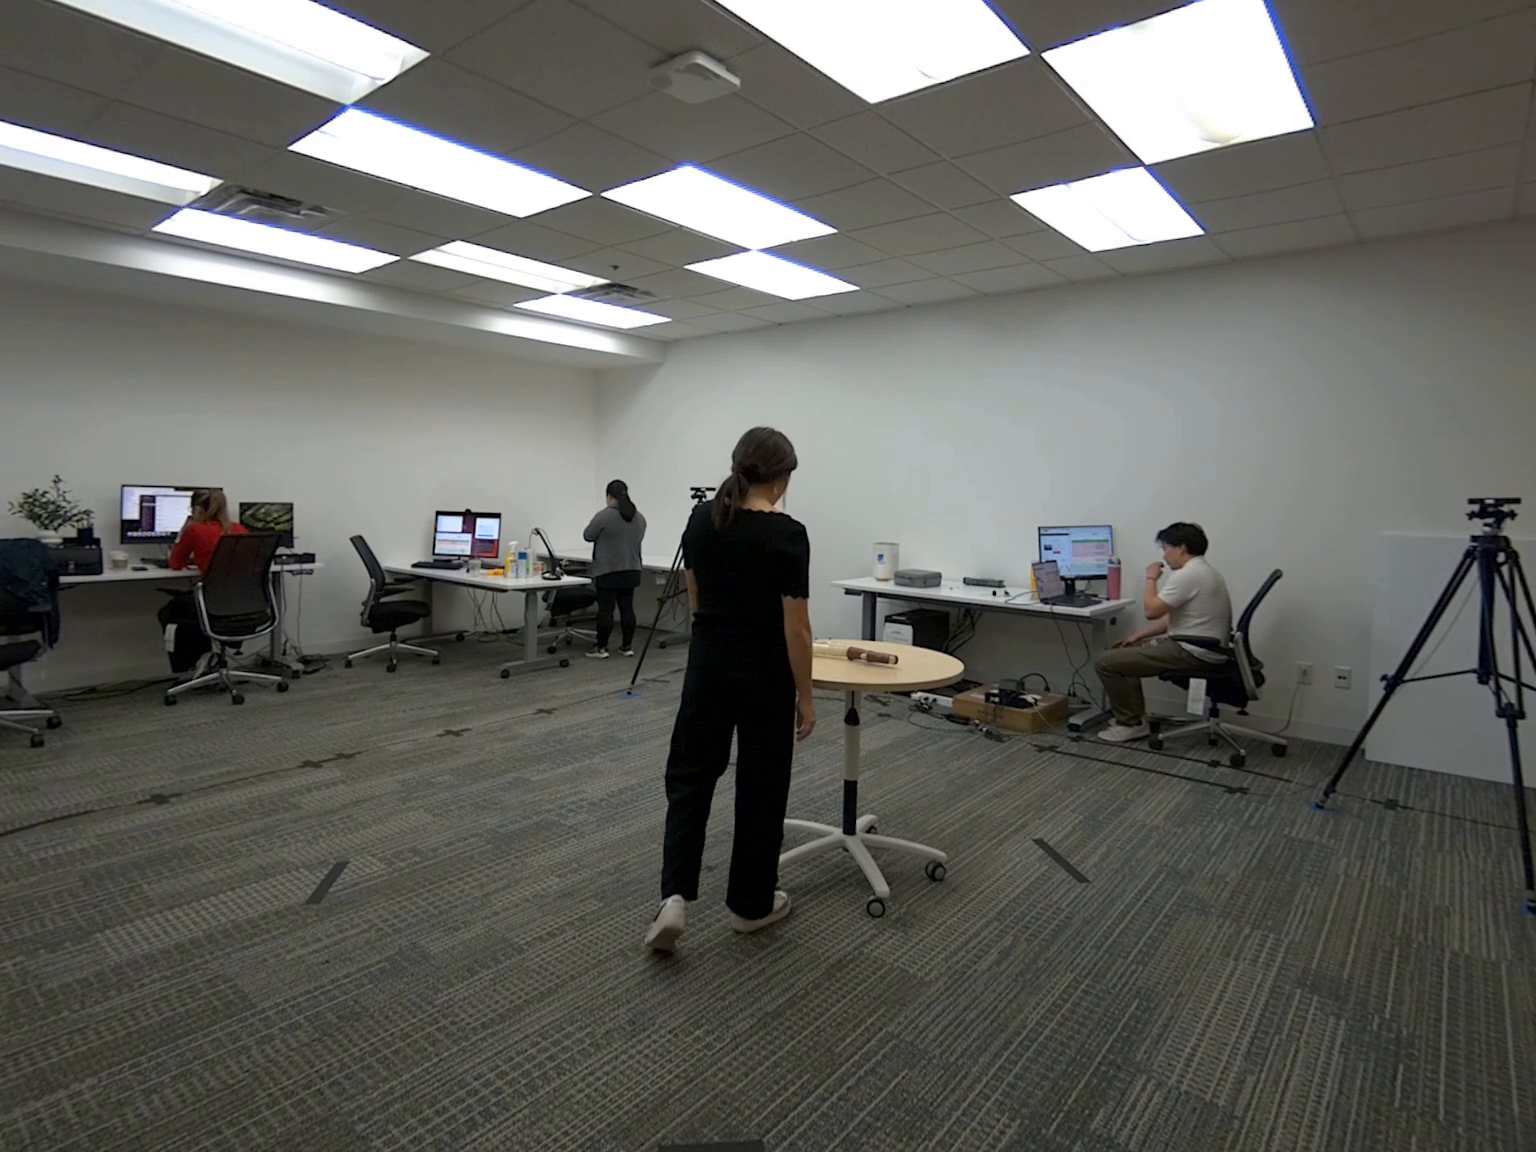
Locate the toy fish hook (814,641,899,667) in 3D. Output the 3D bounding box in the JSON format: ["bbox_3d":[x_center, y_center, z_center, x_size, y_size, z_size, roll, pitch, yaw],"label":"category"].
[{"bbox_3d":[0.274,0.268,3.134,0.218,0.048,0.524,-8,10,-44],"label":"toy fish hook"}]
